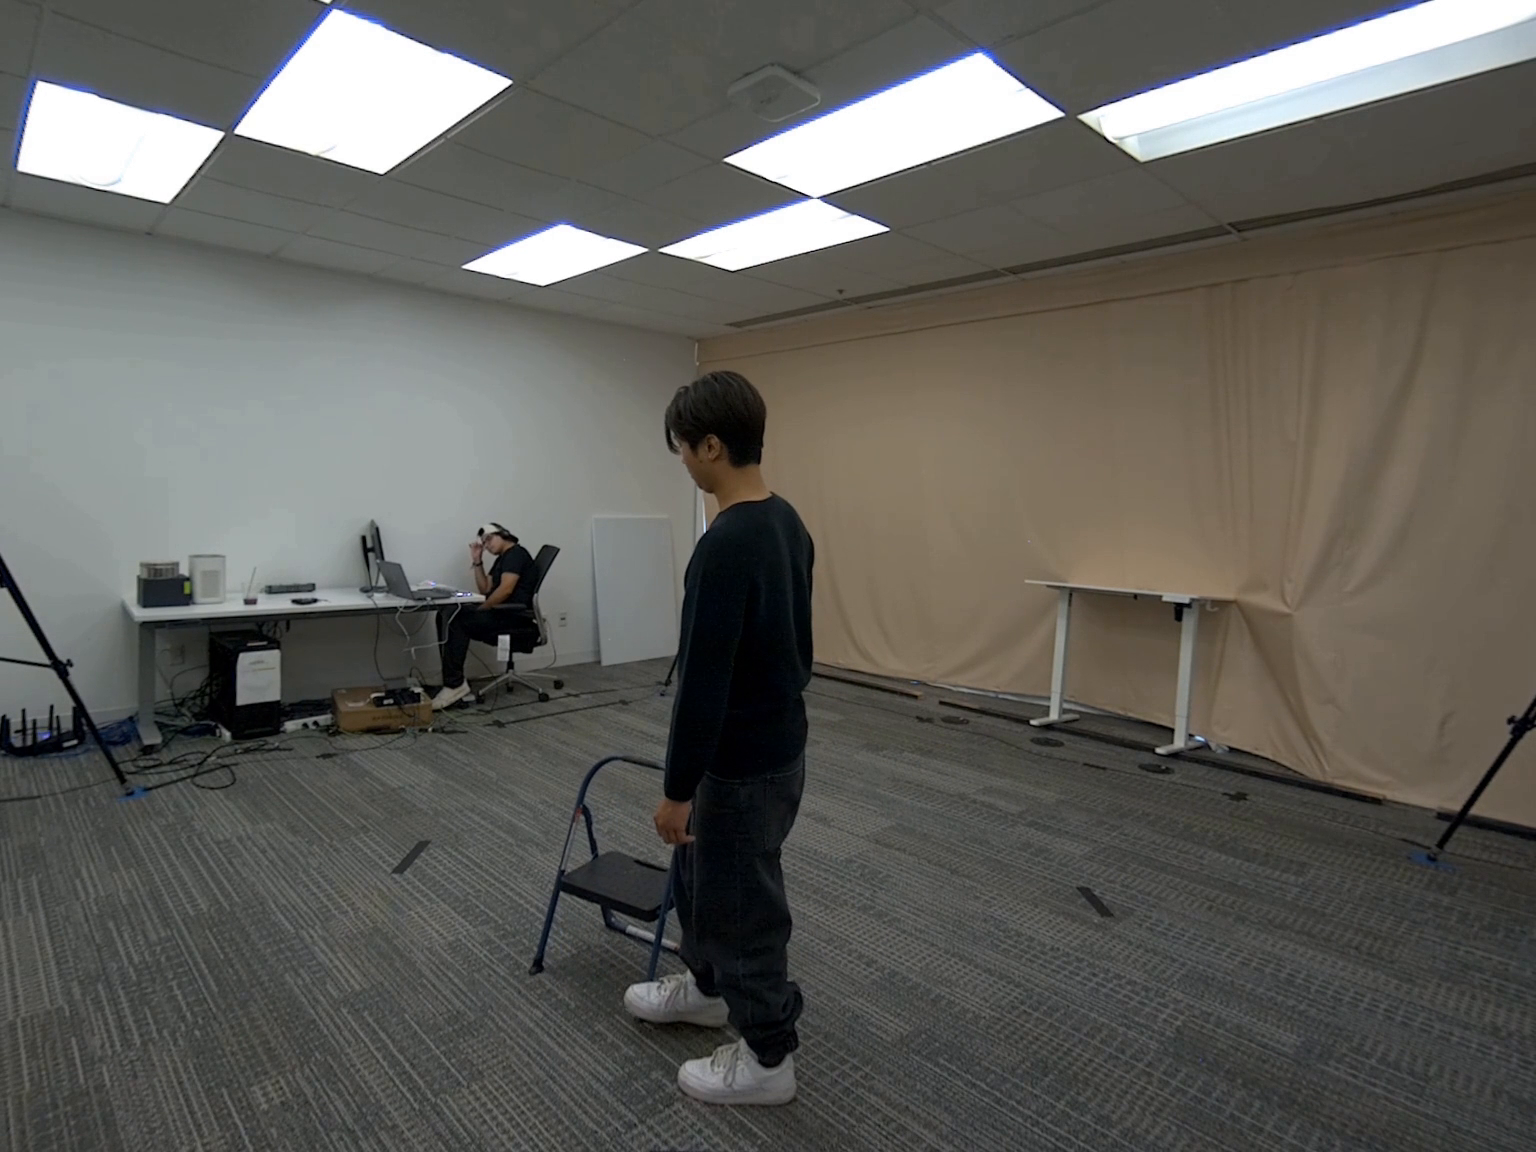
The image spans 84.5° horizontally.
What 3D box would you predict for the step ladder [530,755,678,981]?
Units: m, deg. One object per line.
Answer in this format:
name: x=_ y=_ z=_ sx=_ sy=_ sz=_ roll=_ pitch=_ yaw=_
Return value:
step ladder: x=-0.426 y=0.858 z=2.461 sx=0.440 sy=0.604 sz=0.342 roll=4 pitch=5 yaw=32
